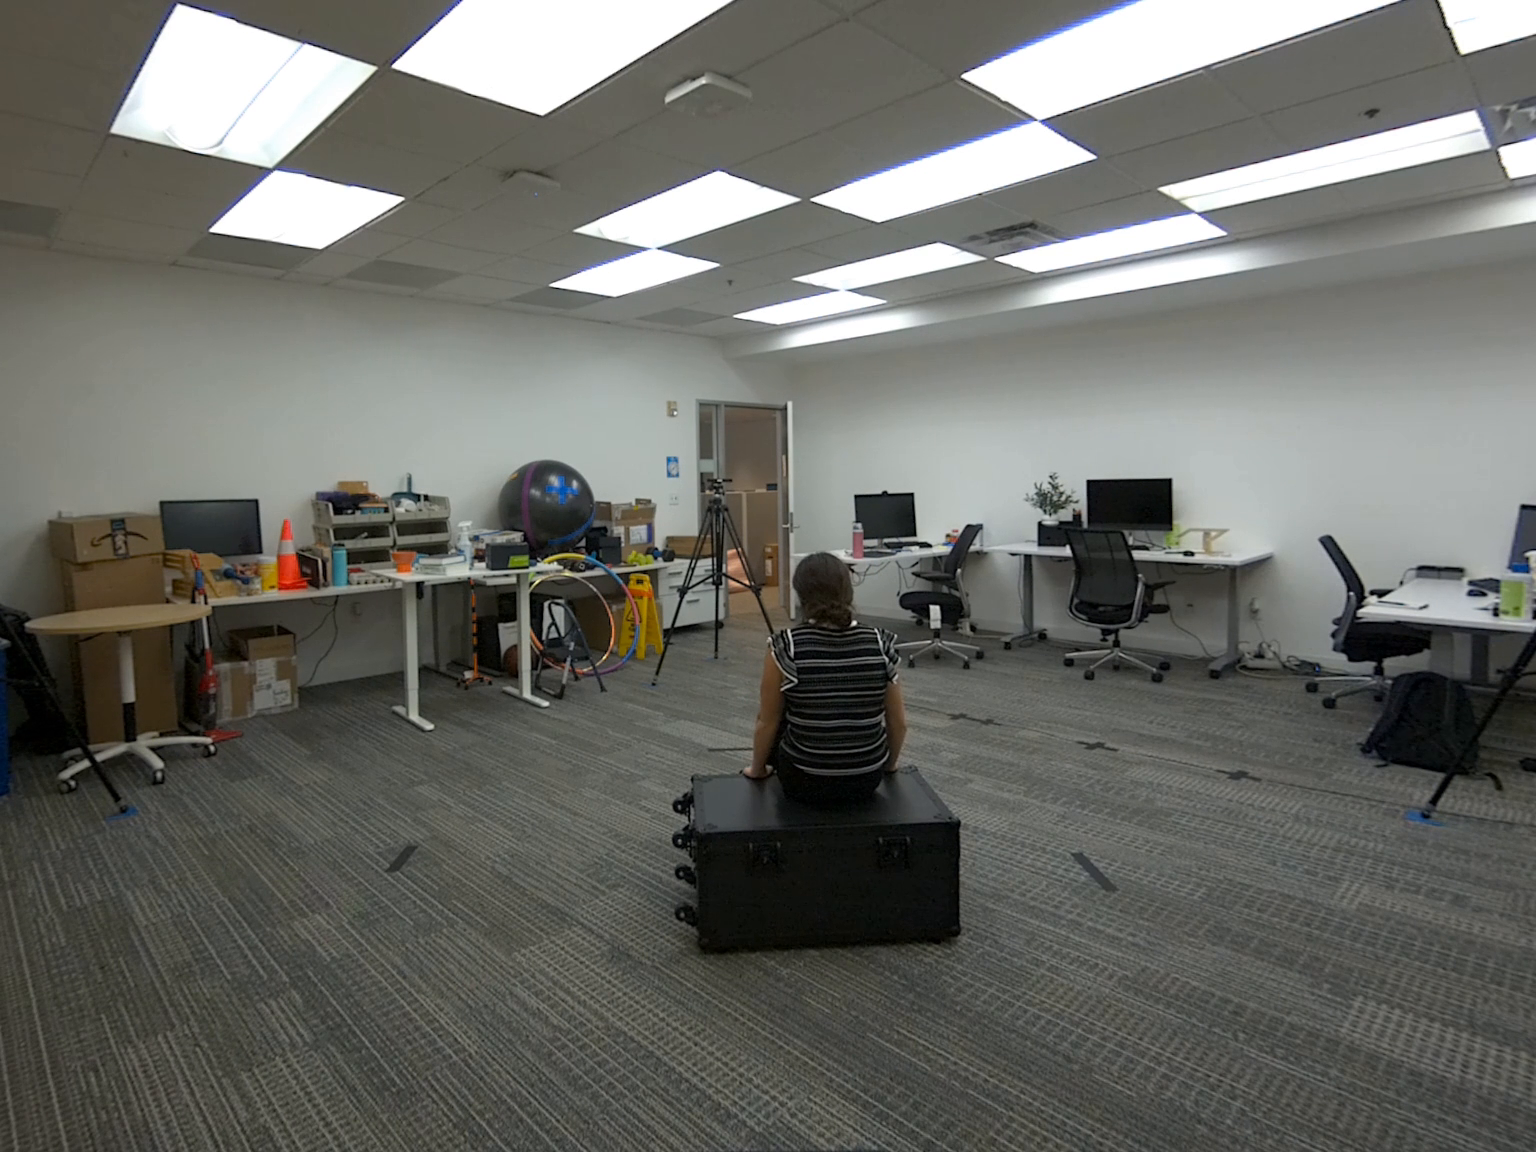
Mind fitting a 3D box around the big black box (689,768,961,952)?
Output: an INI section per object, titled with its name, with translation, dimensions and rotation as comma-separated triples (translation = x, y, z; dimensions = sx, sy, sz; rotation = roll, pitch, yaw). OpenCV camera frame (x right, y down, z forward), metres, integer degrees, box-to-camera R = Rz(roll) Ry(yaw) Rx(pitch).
[big black box]
translation = 0.124, 0.889, 2.754
dimensions = 0.858, 0.395, 0.526
rotation = -2, 5, -5
